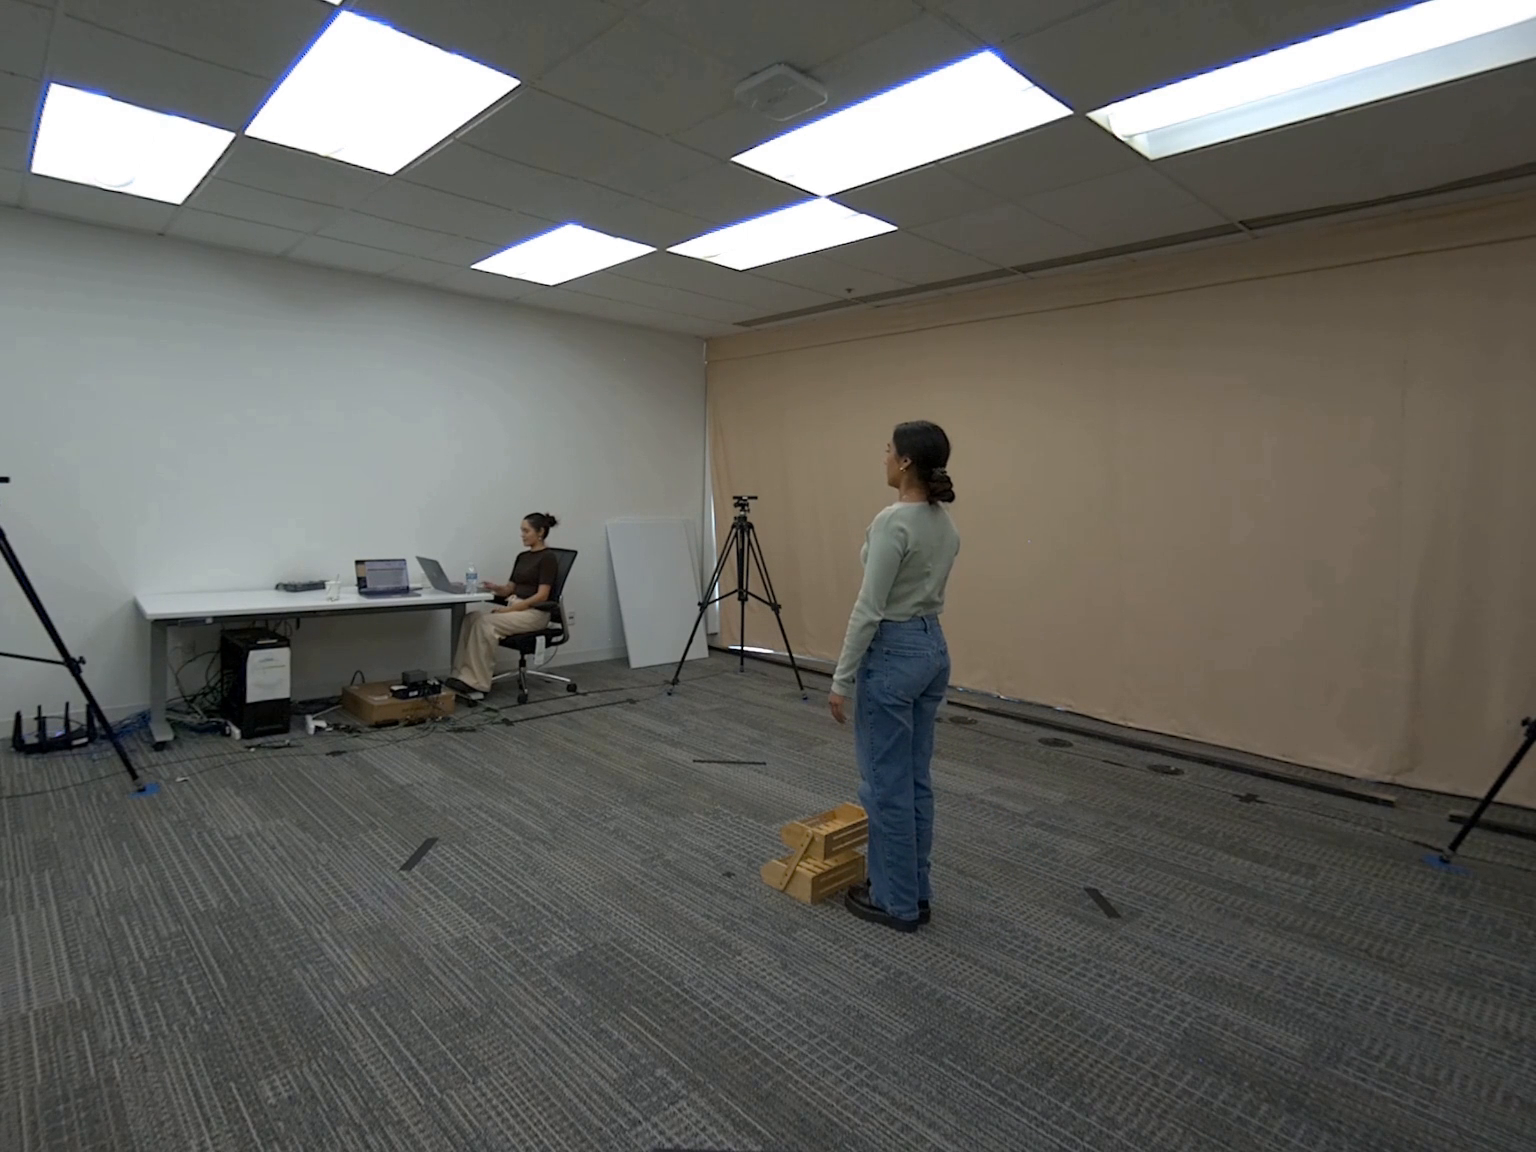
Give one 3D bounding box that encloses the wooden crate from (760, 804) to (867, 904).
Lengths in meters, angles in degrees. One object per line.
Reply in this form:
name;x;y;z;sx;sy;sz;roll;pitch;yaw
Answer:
wooden crate;0.176;0.979;3.057;0.310;0.272;0.317;6;6;44
